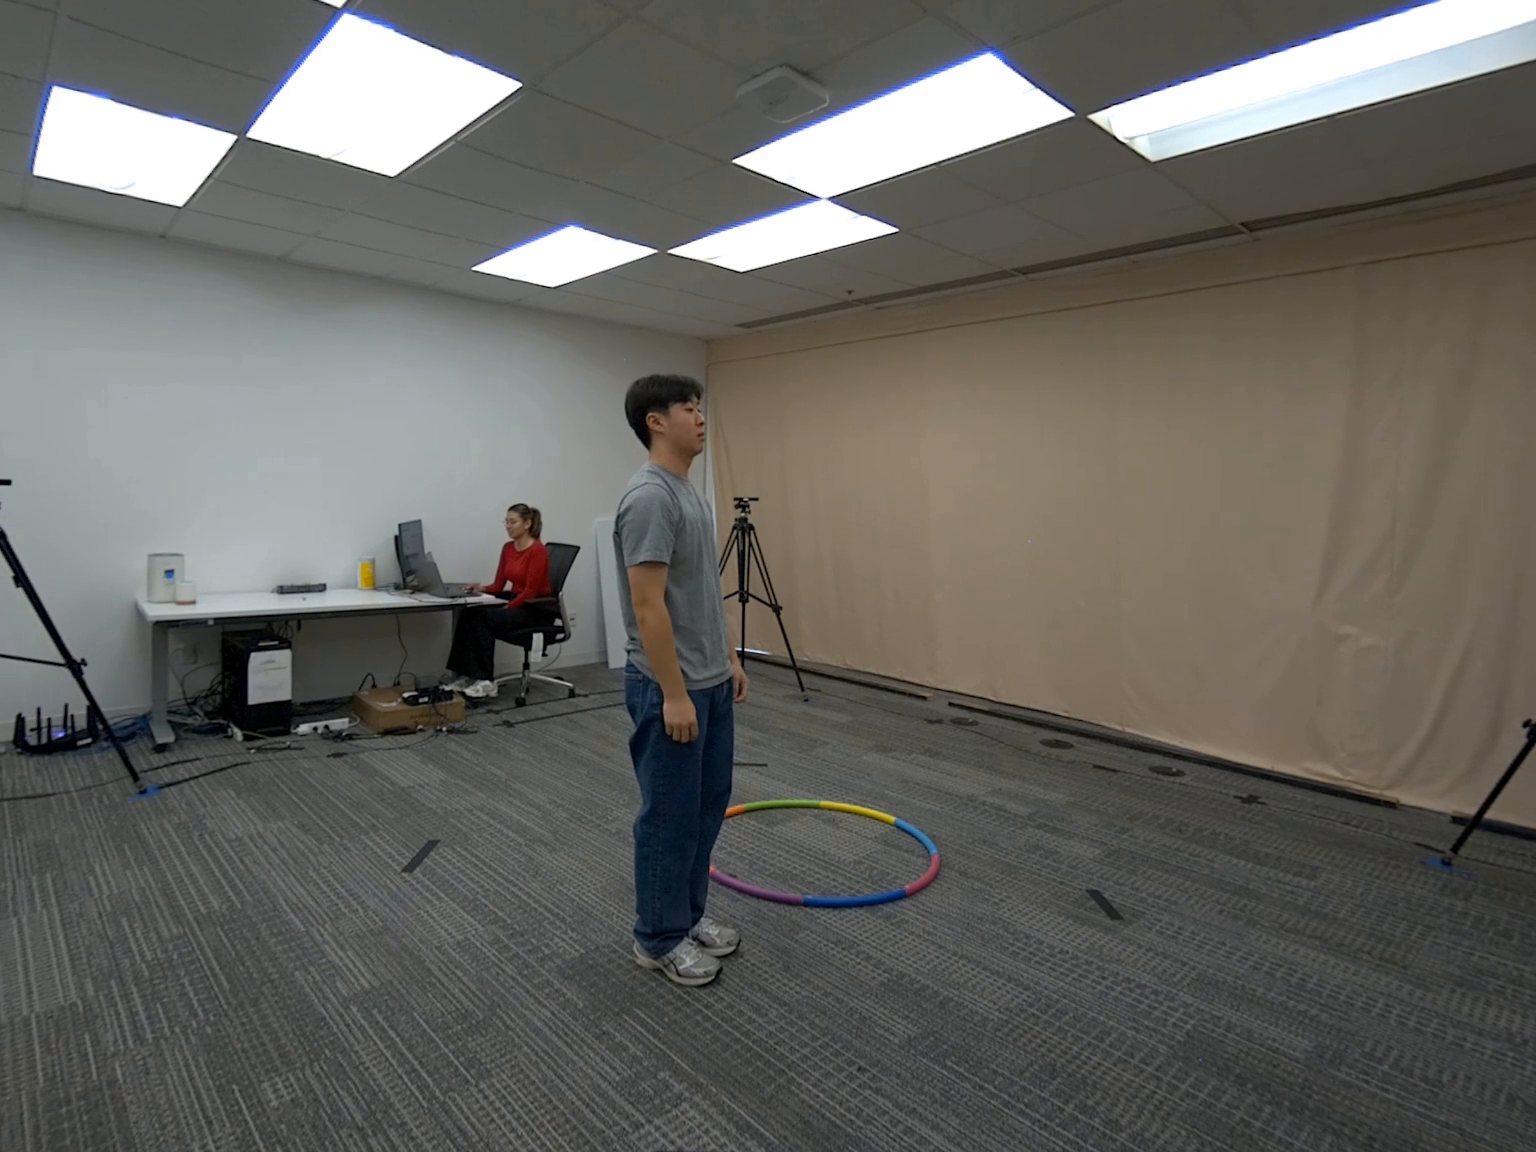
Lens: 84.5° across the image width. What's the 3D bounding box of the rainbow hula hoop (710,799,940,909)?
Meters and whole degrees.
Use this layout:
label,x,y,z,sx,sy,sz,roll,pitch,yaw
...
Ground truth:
label,x,y,z,sx,sy,sz,roll,pitch,yaw
rainbow hula hoop,0.160,1.063,3.357,0.978,0.035,0.982,1,5,-1
